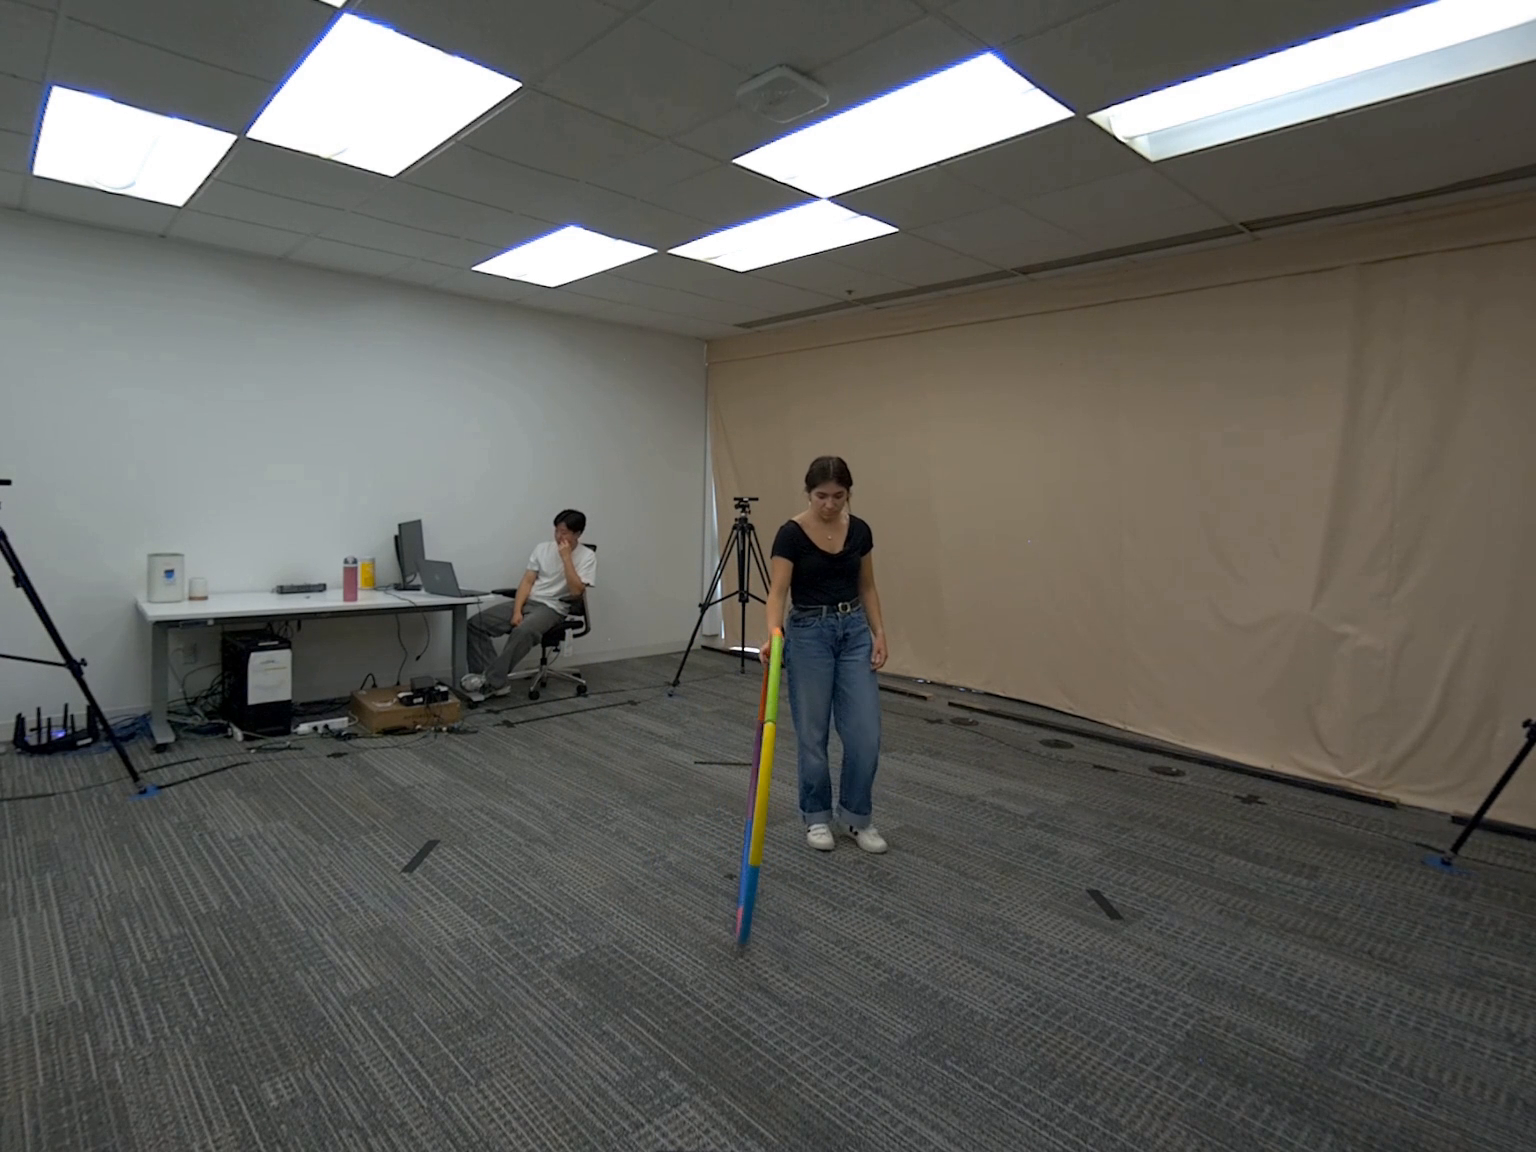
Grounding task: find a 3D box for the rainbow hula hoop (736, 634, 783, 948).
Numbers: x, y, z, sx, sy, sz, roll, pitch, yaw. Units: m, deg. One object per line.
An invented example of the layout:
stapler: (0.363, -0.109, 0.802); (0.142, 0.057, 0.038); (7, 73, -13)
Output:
rainbow hula hoop: (-0.028, 0.668, 2.710); (0.035, 0.976, 0.980); (6, 4, 0)
